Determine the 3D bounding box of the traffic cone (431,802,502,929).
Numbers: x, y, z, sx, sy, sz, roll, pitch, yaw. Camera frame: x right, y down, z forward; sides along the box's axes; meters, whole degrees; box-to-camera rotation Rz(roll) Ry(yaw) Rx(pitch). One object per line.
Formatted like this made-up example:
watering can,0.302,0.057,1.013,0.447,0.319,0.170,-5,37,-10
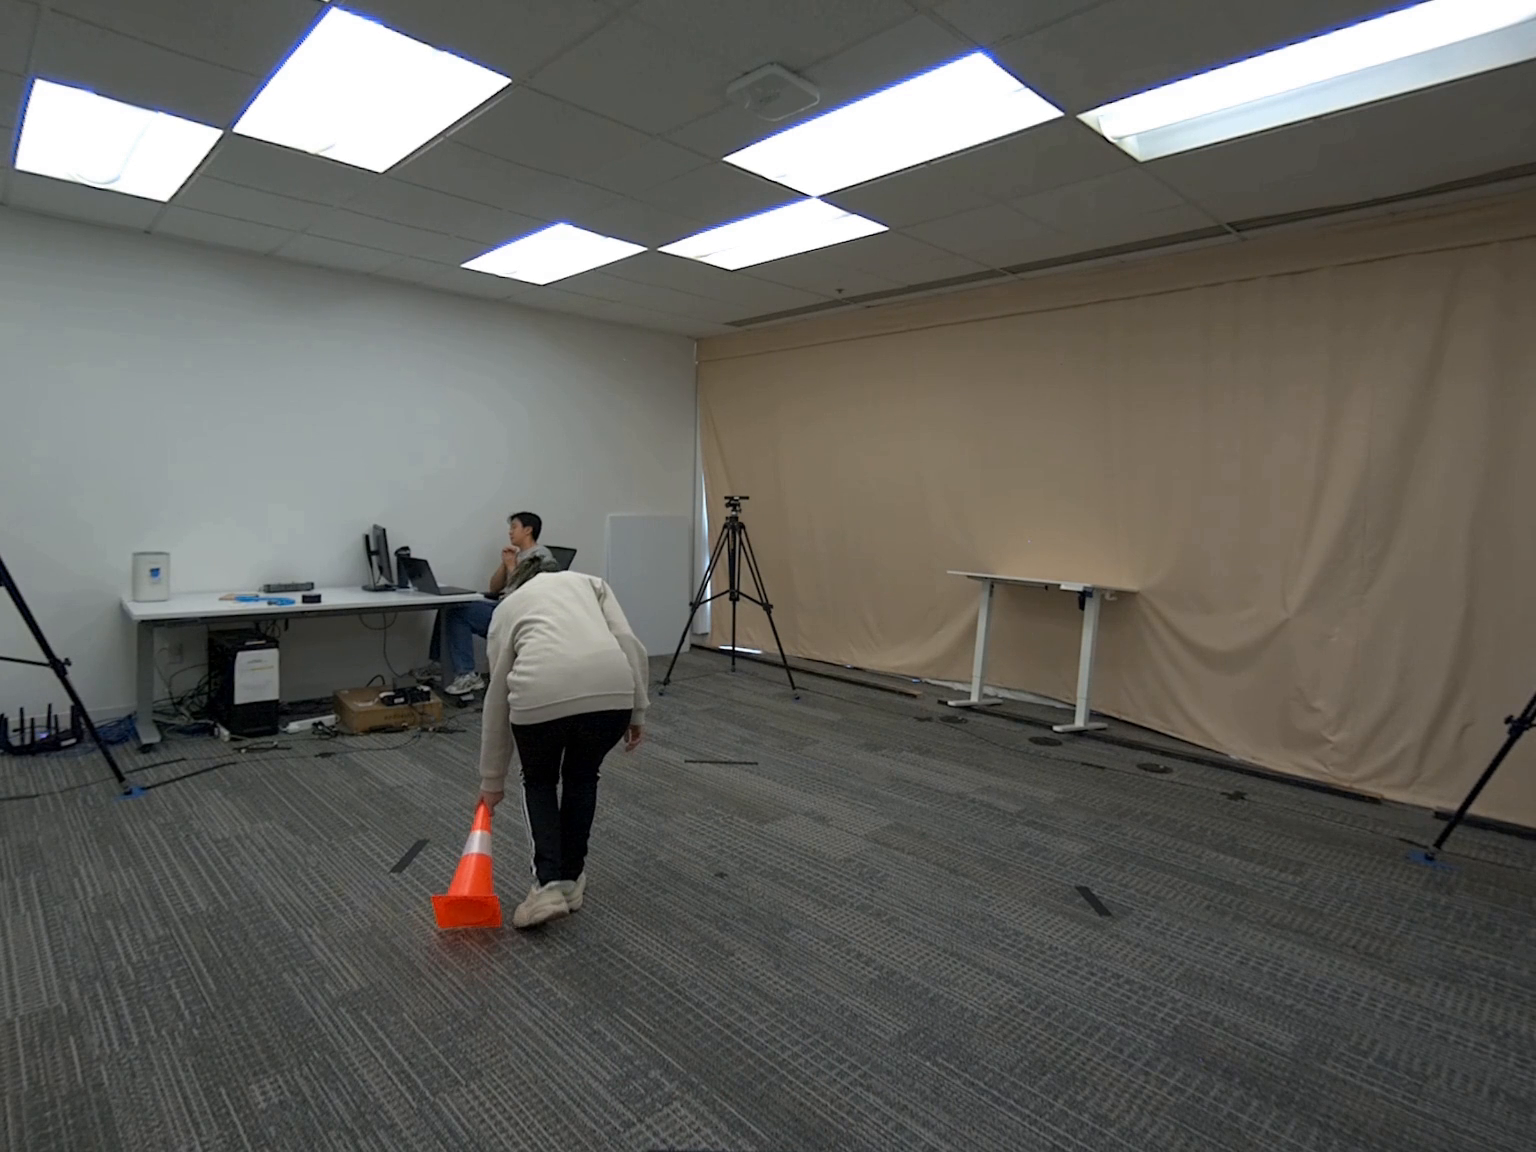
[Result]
traffic cone,-0.963,0.918,2.755,0.204,0.199,0.393,-2,40,-6
